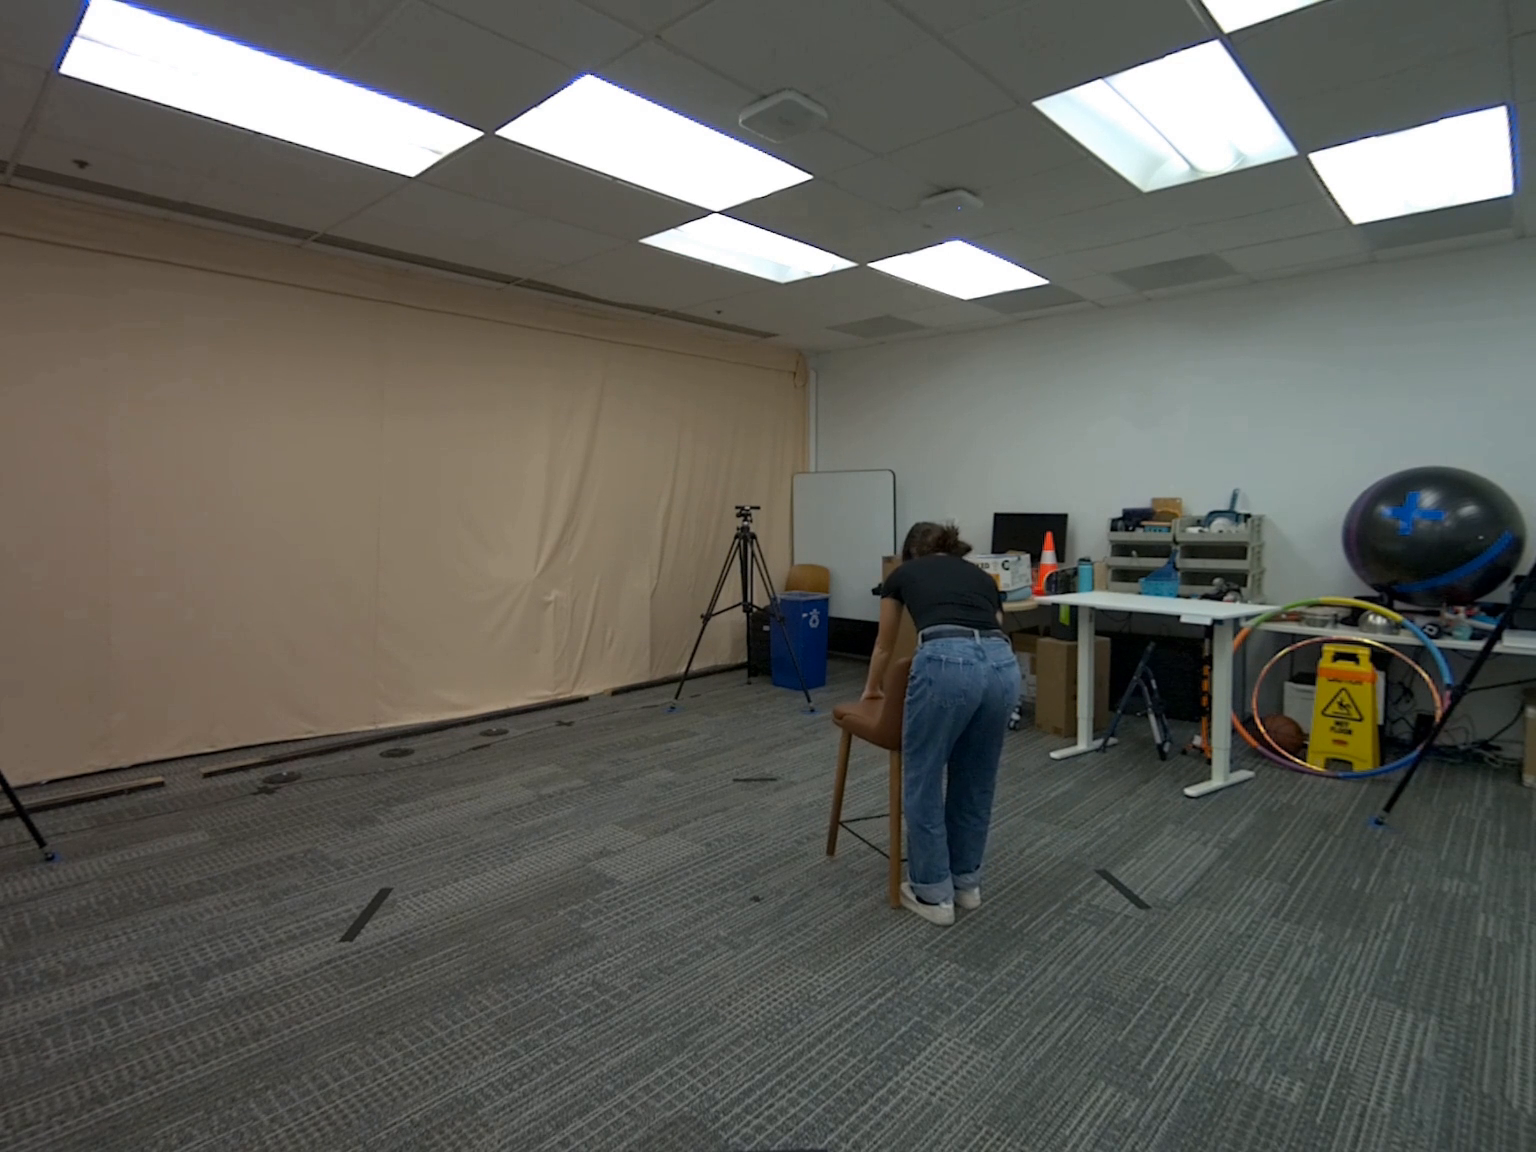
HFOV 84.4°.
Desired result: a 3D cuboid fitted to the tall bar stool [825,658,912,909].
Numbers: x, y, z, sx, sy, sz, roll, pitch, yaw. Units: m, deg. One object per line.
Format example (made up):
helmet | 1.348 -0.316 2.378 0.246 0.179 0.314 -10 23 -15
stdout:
tall bar stool | 0.517 0.673 3.140 0.446 0.886 0.480 -1 7 -24
